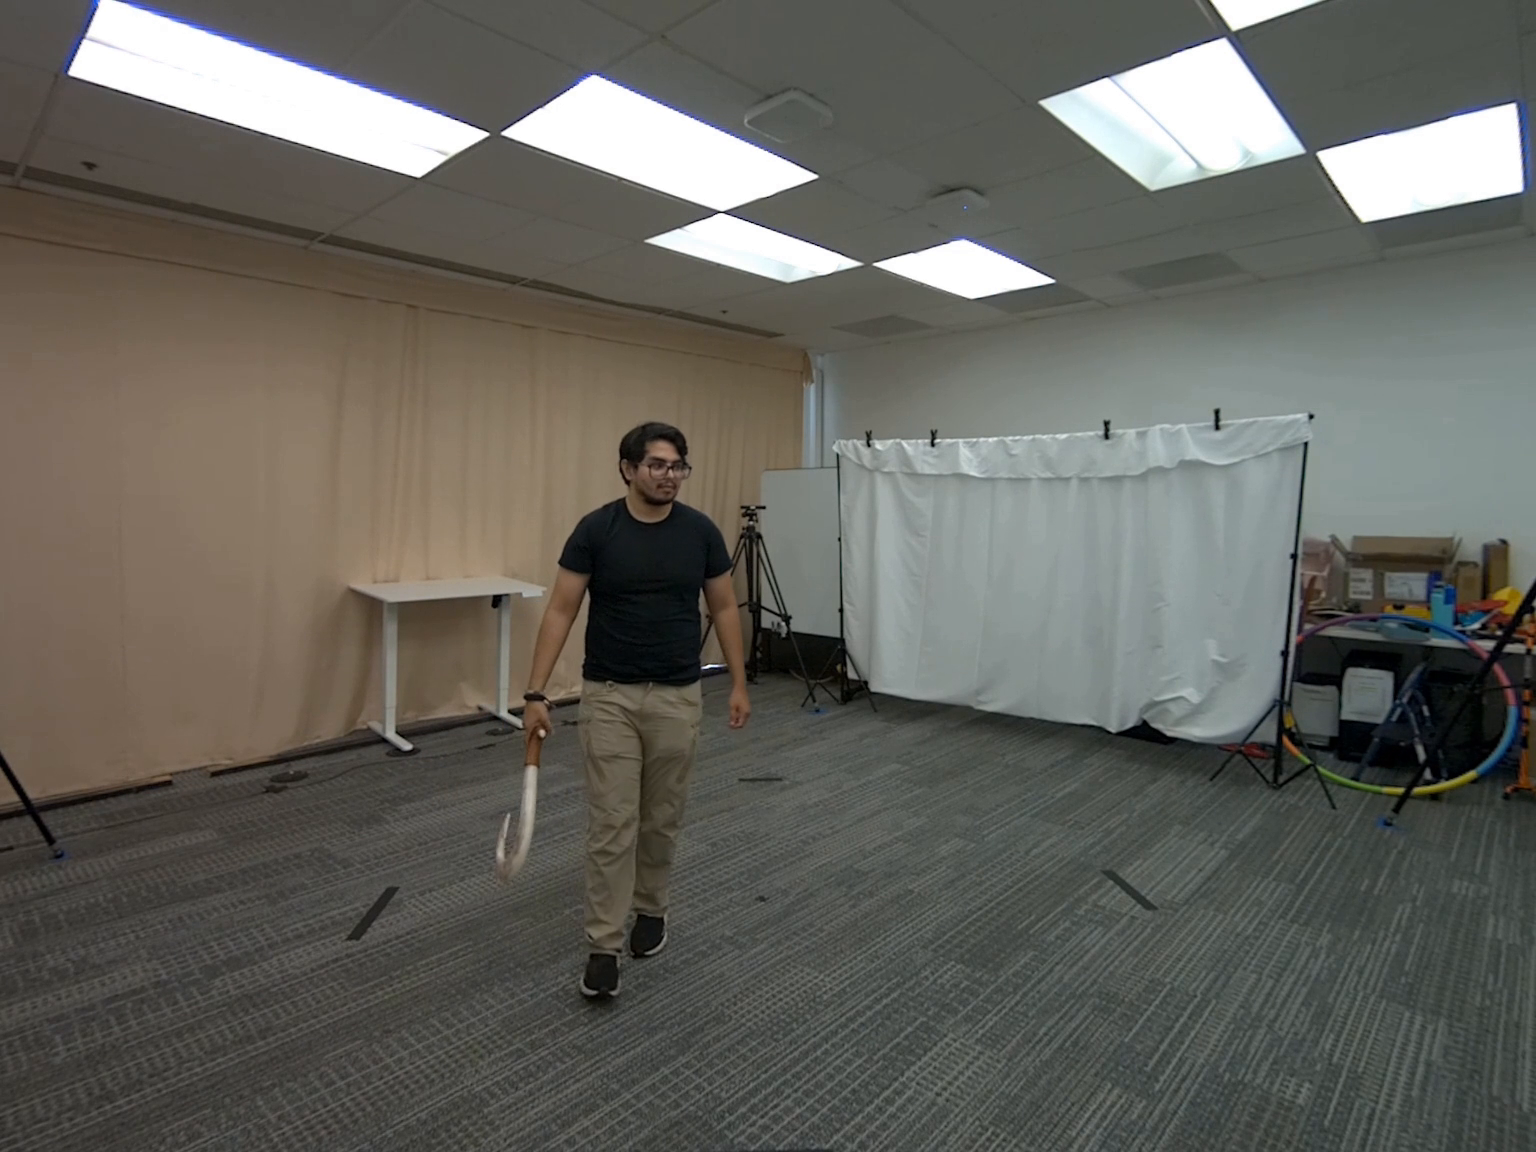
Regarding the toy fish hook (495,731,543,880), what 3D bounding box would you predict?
[{"bbox_3d":[-0.696,0.609,2.410,0.047,0.513,0.228,25,-35,-30],"label":"toy fish hook"}]
